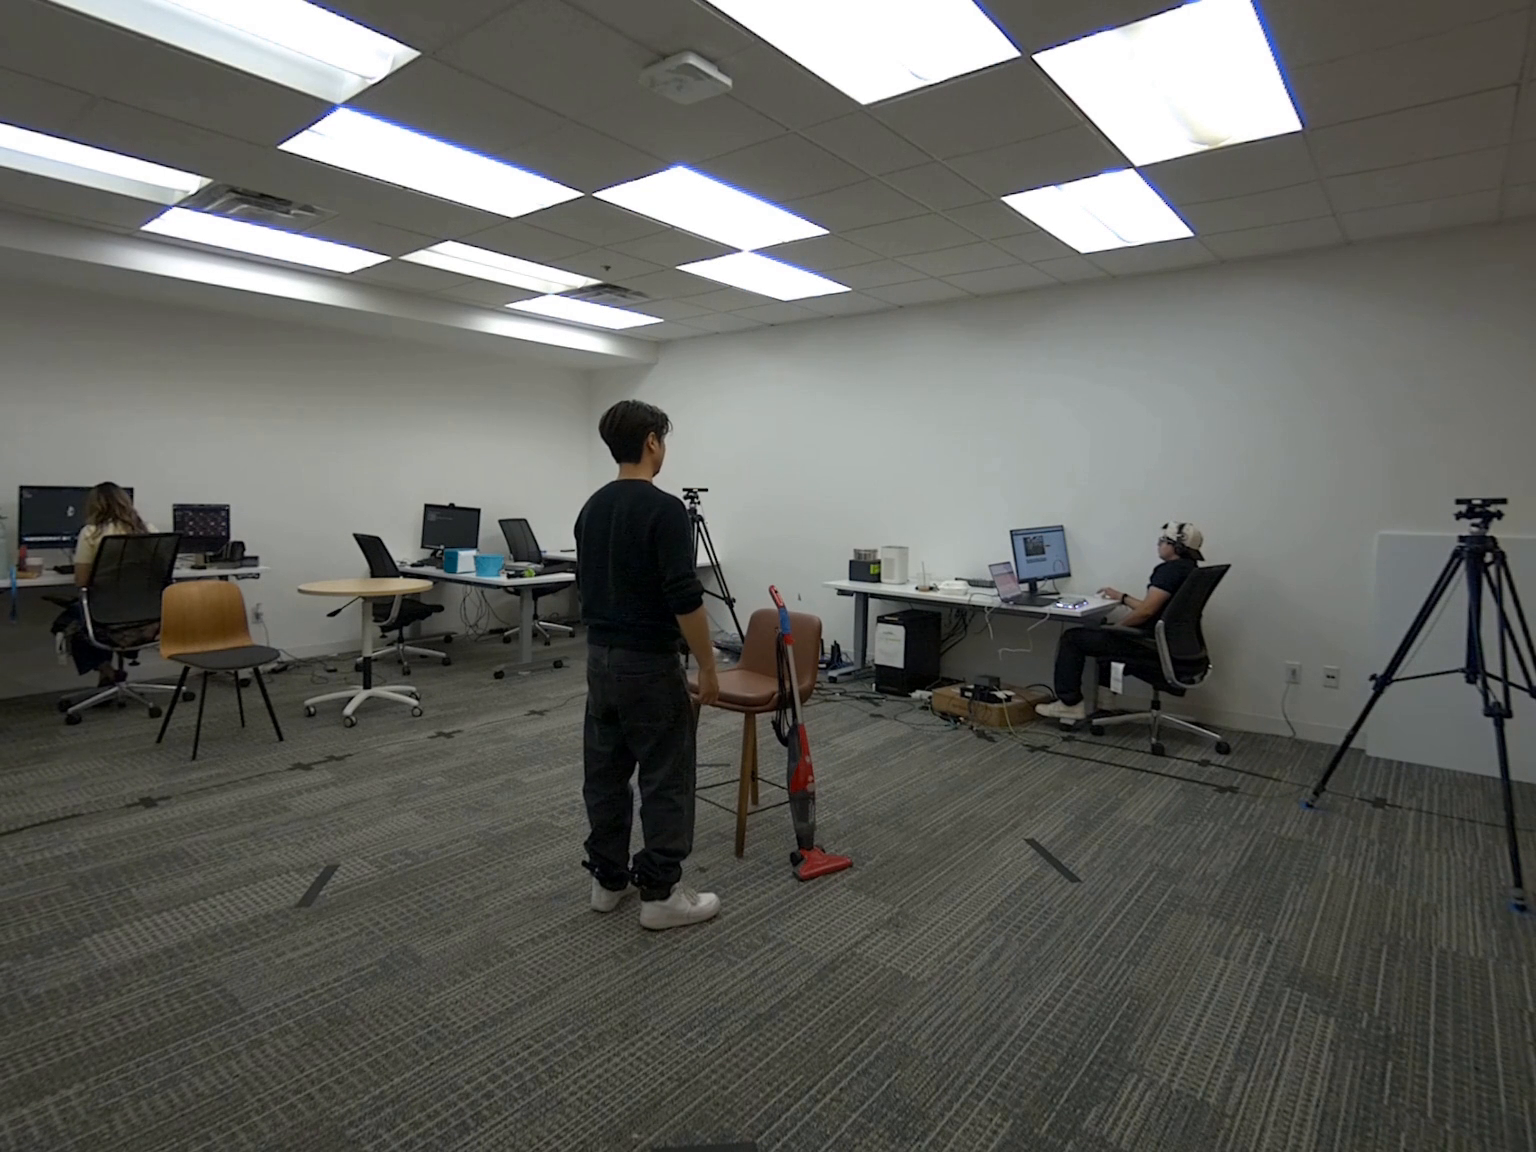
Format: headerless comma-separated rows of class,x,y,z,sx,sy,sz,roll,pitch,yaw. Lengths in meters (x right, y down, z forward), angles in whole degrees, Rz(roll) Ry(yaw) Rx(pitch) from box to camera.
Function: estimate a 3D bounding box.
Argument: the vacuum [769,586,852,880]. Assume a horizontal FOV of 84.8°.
vacuum,0.092,0.560,3.259,0.245,1.063,0.146,0,-14,-38
